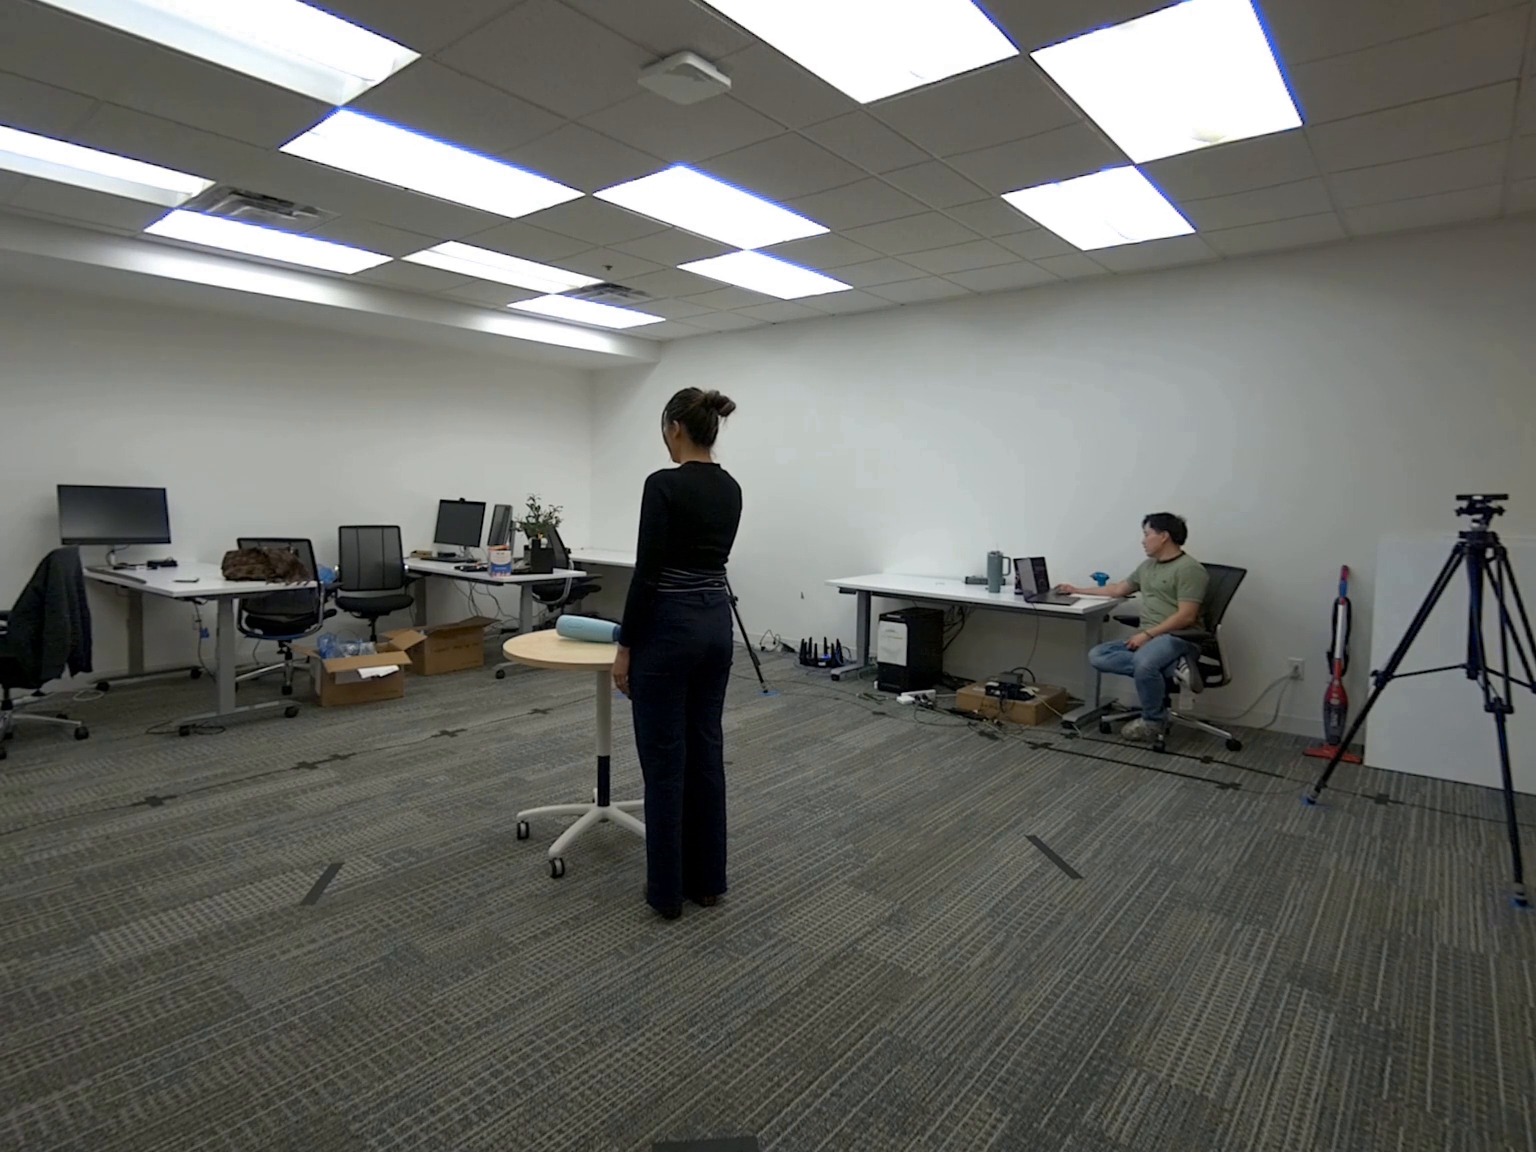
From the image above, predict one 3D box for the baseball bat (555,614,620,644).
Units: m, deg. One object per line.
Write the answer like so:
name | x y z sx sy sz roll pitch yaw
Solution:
baseball bat | -0.579 0.222 3.289 0.554 0.089 0.088 5 5 17
